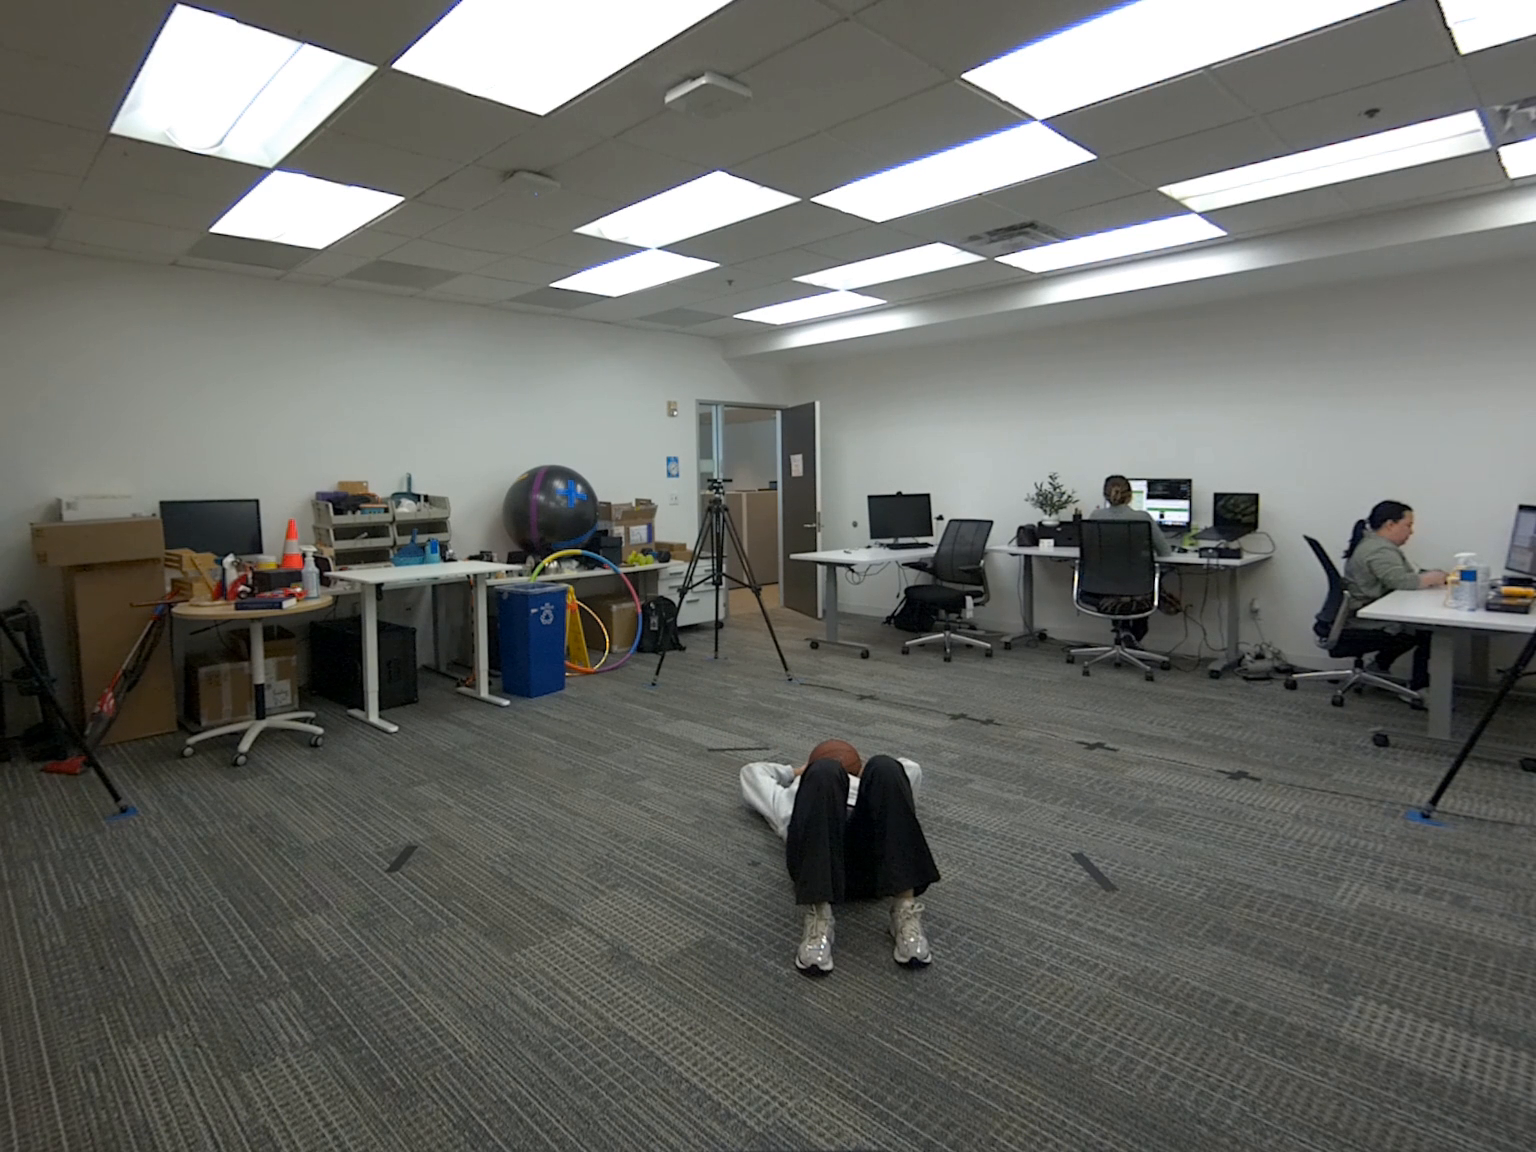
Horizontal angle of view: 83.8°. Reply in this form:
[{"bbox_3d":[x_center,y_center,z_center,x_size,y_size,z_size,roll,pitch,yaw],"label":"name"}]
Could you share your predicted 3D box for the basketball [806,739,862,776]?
[{"bbox_3d":[0.298,0.844,3.786,0.236,0.235,0.237,-1,5,-2],"label":"basketball"}]
